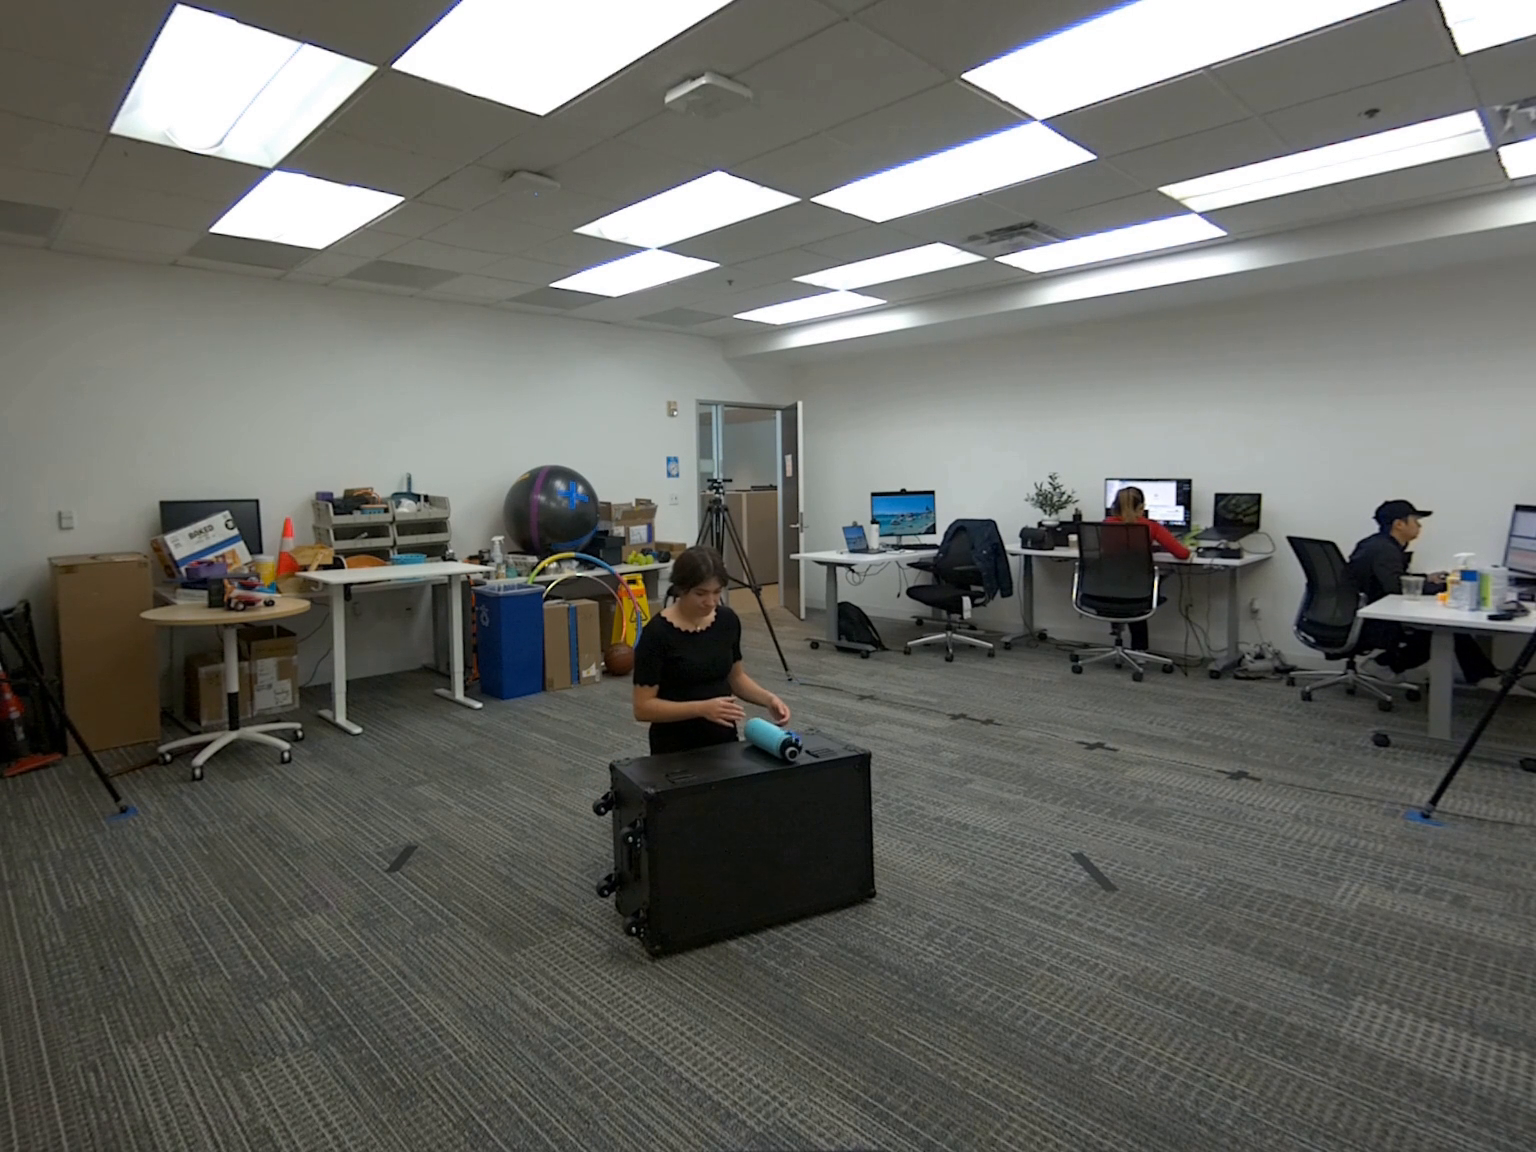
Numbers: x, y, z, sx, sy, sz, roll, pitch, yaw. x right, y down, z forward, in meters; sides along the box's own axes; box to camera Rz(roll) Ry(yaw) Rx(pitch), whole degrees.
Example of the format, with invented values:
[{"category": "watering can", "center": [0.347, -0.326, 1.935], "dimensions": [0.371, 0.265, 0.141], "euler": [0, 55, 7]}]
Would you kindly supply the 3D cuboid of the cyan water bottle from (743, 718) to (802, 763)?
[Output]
[{"category": "cyan water bottle", "center": [0.020, 0.538, 2.824], "dimensions": [0.090, 0.092, 0.290], "euler": [-3, 3, -25]}]
